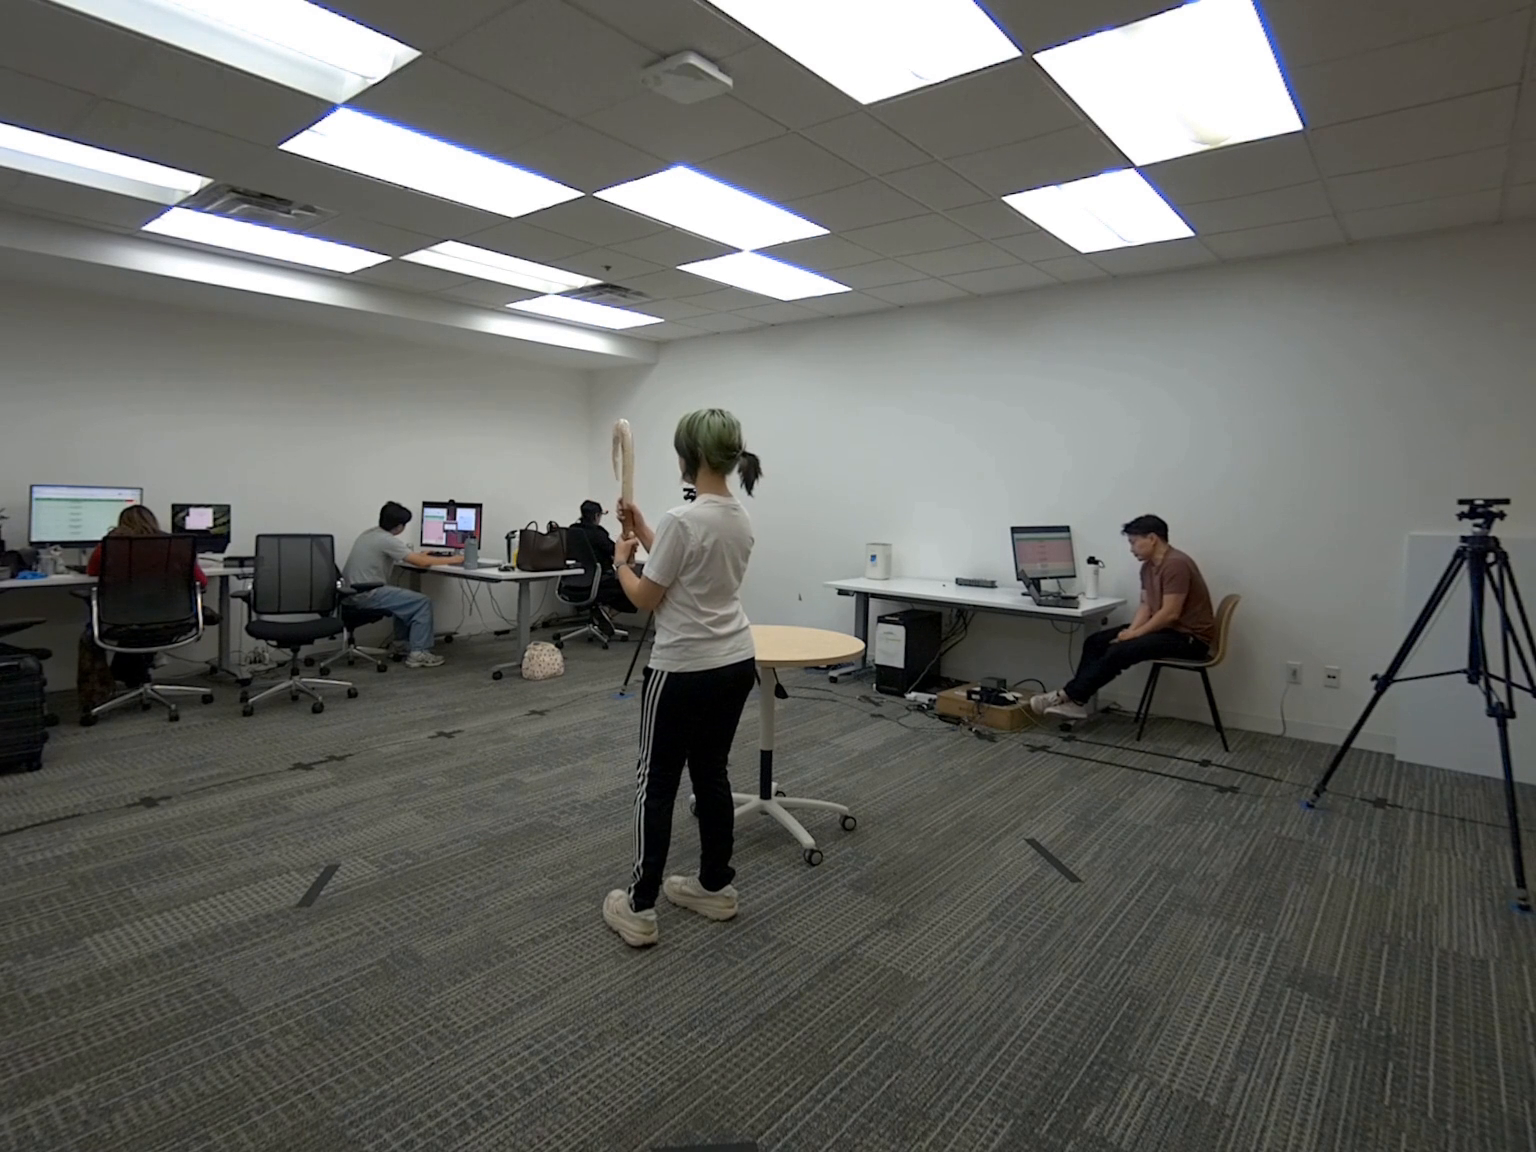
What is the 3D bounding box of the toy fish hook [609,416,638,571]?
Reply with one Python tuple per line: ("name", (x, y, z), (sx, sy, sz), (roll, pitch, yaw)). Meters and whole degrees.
("toy fish hook", (-0.499, -0.277, 2.884), (0.047, 0.508, 0.228), (0, -3, -20))
